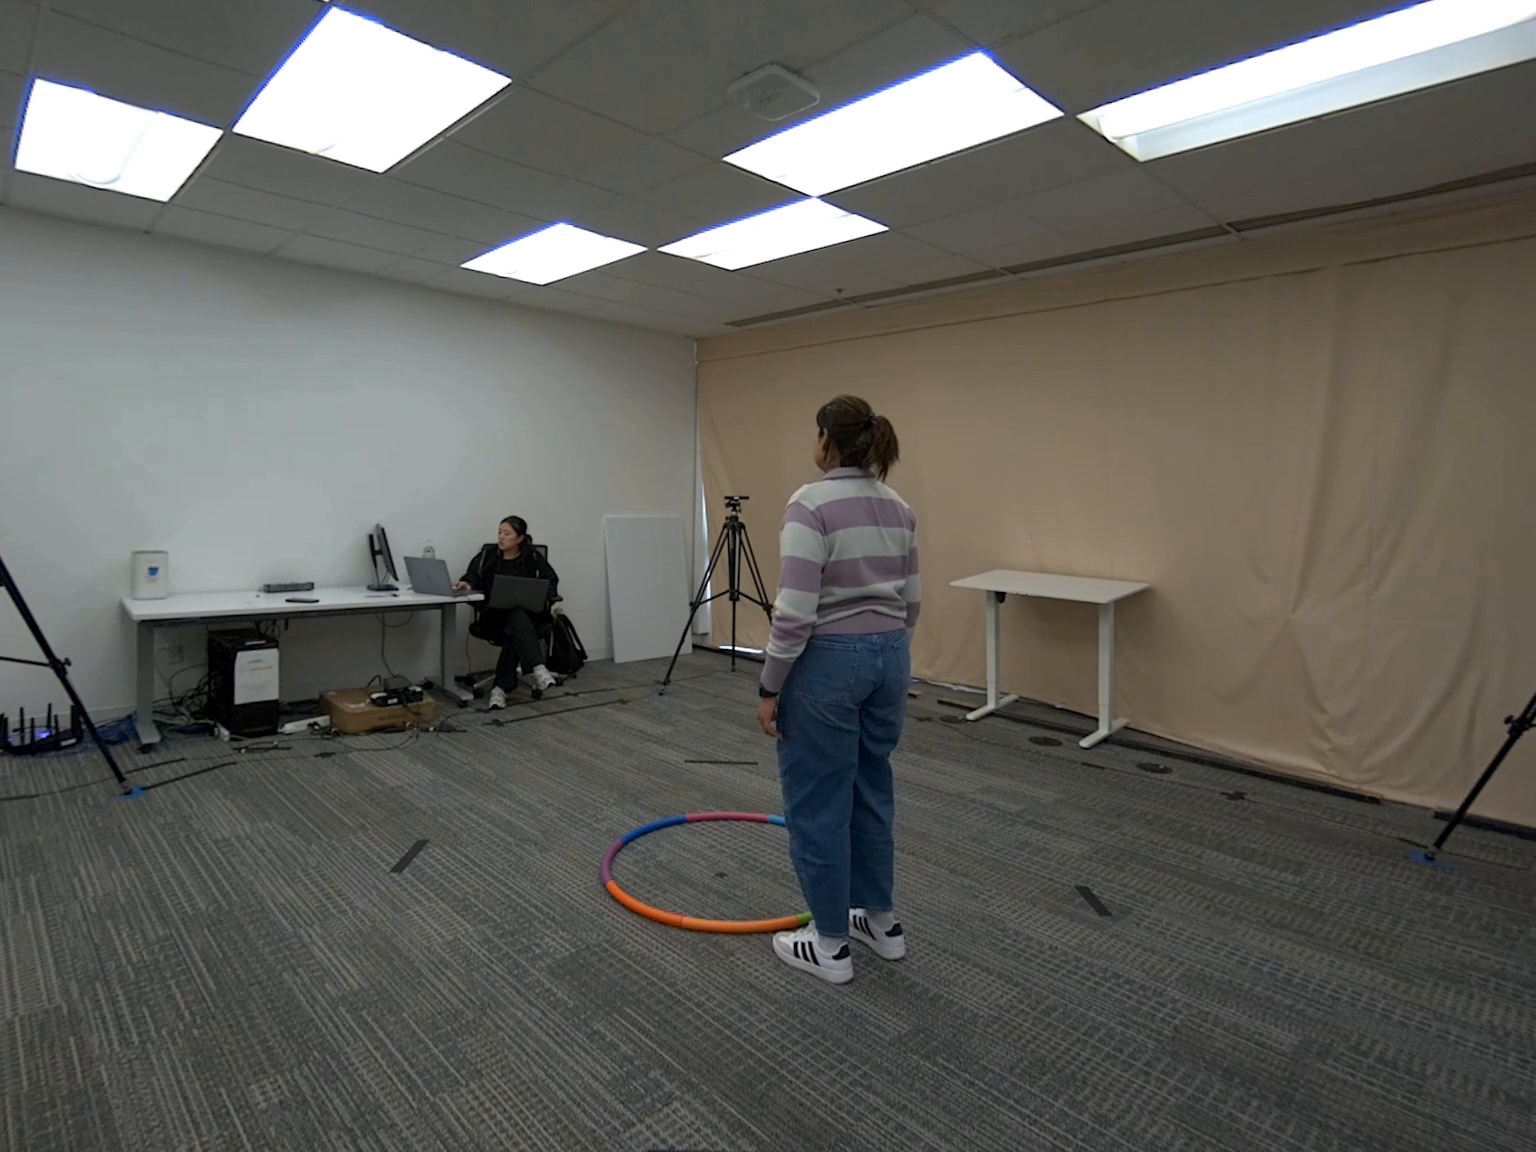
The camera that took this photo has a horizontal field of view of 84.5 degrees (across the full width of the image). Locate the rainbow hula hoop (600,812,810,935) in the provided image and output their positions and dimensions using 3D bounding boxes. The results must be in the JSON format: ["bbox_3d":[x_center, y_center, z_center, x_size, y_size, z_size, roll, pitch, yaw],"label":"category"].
[{"bbox_3d":[-0.132,1.071,3.169,0.985,0.051,0.989,1,6,-1],"label":"rainbow hula hoop"}]
